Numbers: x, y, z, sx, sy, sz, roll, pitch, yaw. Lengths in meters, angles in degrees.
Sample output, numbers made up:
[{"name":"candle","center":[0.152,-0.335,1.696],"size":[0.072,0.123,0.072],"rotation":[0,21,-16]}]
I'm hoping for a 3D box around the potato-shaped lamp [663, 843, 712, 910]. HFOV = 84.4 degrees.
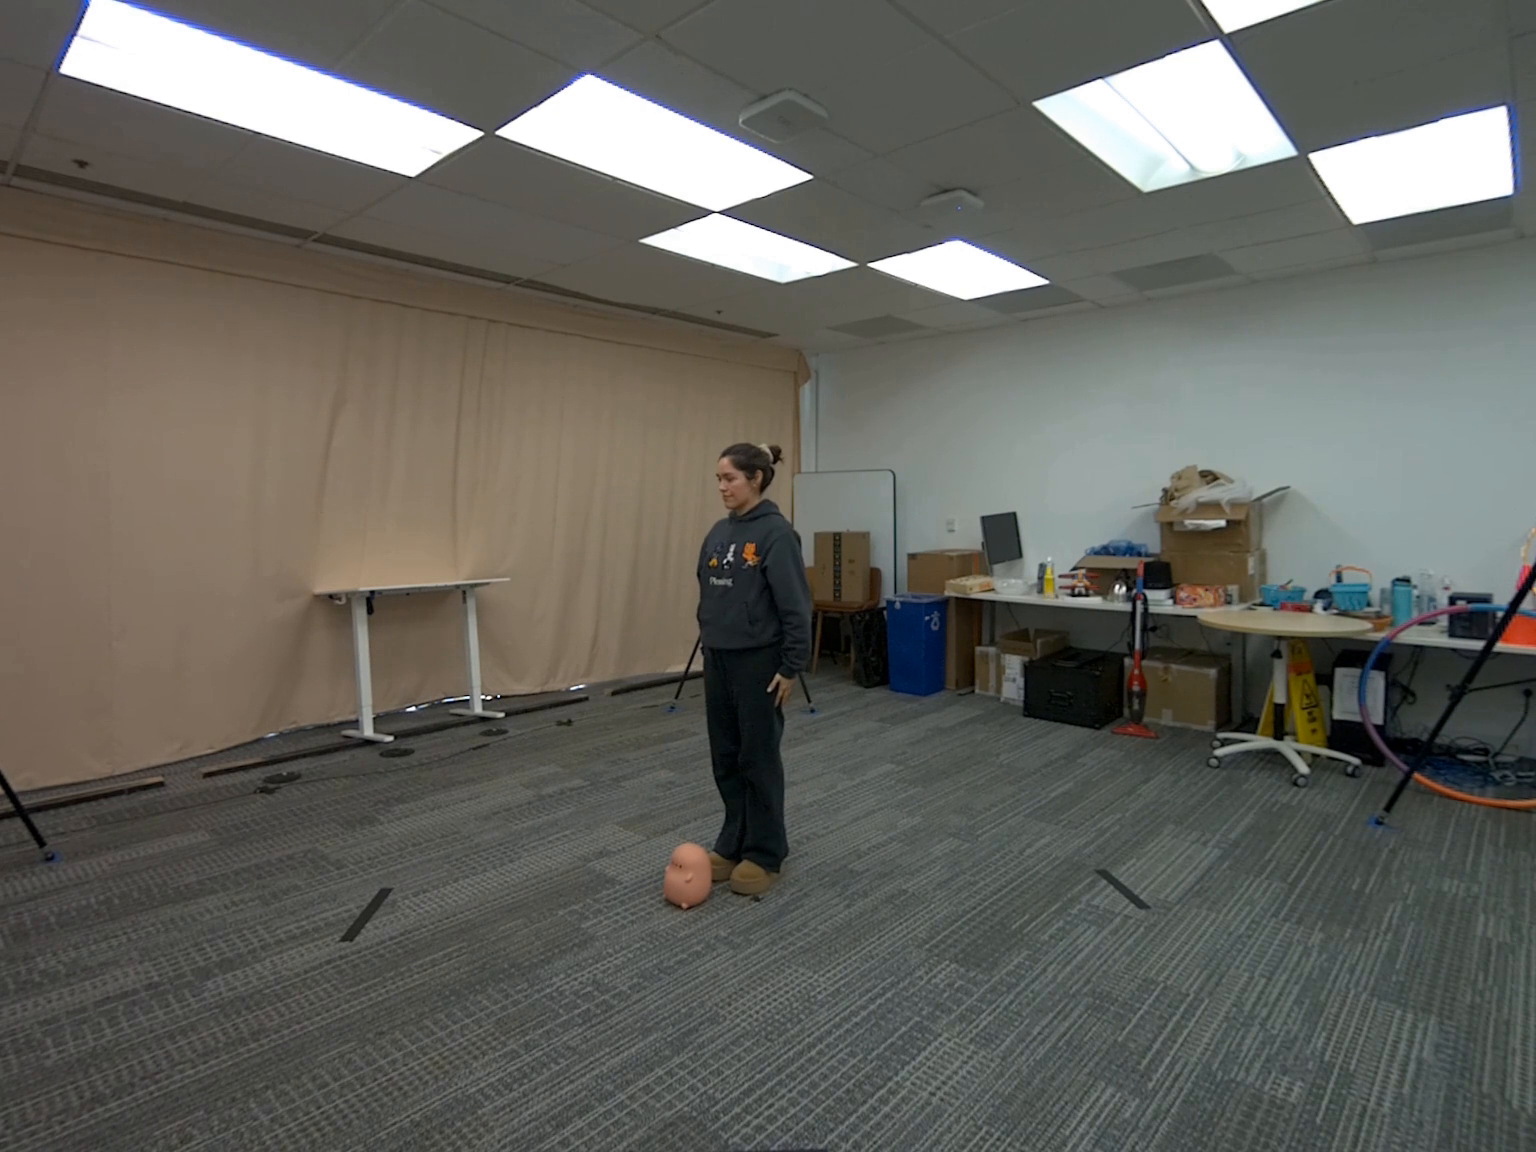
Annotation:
[{"name":"potato-shaped lamp","center":[-0.261,1.066,2.974],"size":[0.166,0.197,0.171],"rotation":[3,19,-42]}]
